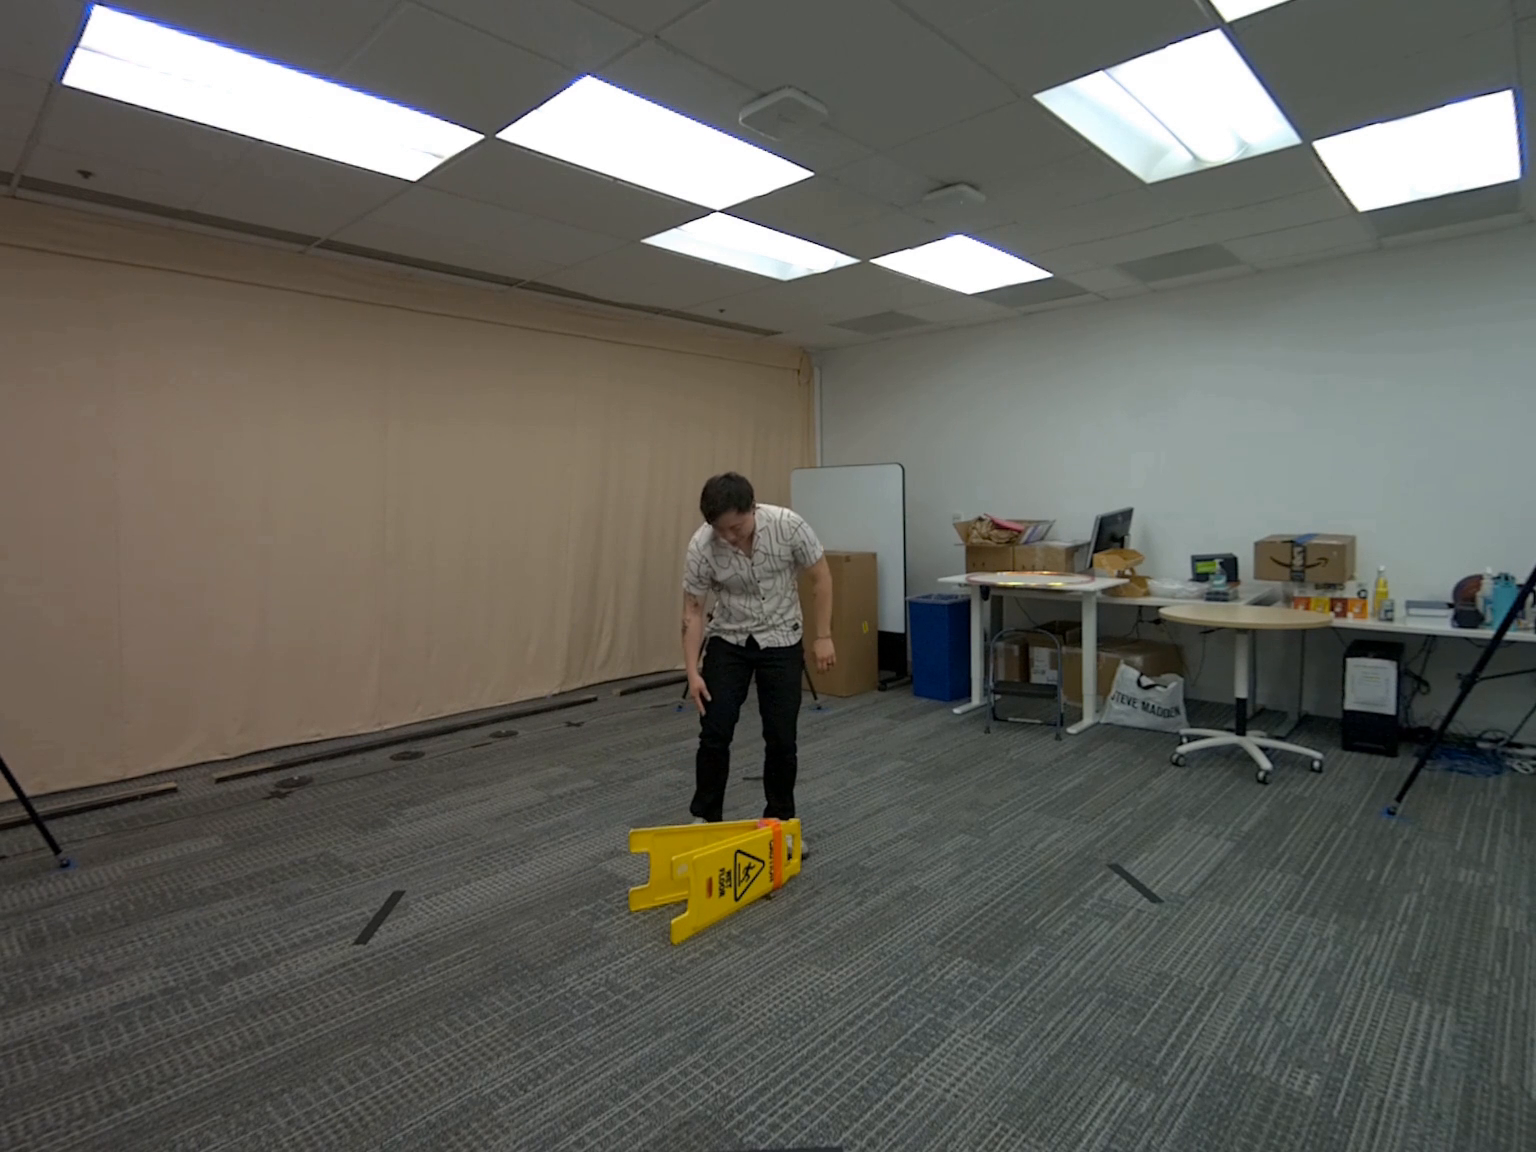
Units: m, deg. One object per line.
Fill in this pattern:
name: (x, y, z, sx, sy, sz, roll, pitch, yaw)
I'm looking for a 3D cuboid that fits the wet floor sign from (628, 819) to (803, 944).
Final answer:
wet floor sign: (-0.136, 1.016, 2.964, 0.627, 0.282, 0.299, -2, 4, -35)
